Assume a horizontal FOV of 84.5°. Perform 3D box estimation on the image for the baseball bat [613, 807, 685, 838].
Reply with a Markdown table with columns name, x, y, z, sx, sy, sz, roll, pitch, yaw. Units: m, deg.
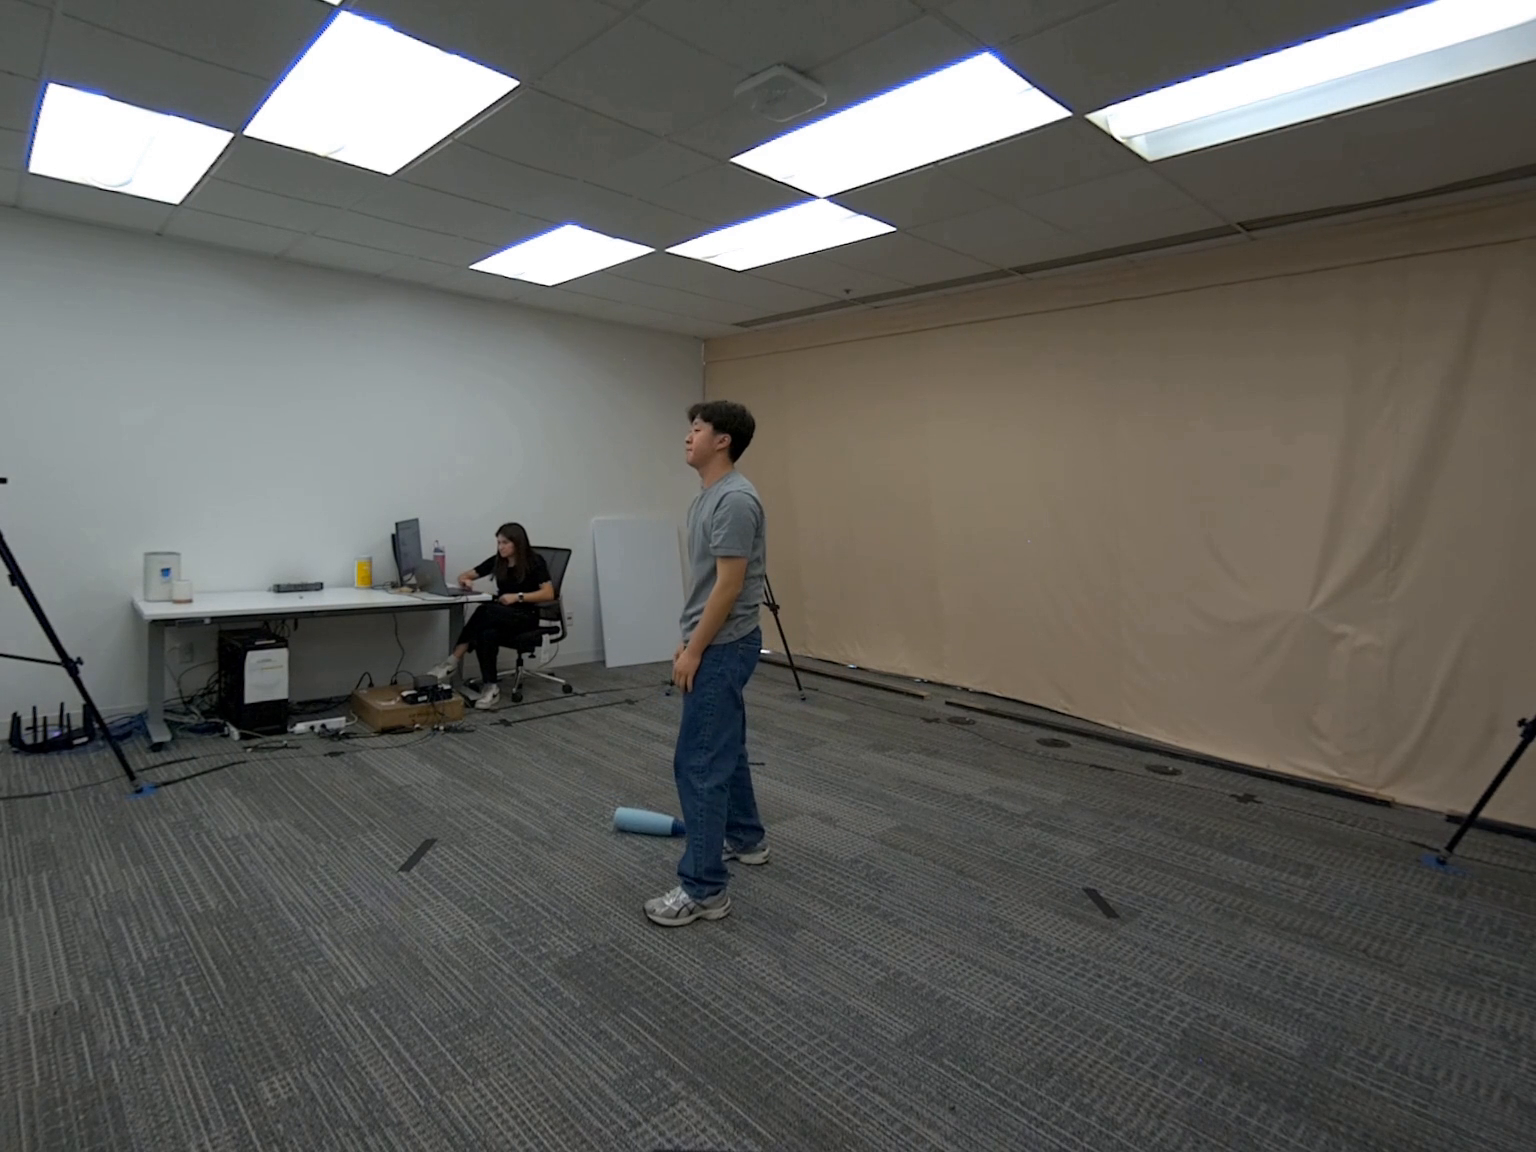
| name | x | y | z | sx | sy | sz | roll | pitch | yaw |
| --- | --- | --- | --- | --- | --- | --- | --- | --- | --- |
| baseball bat | -0.379 | 1.034 | 3.454 | 0.548 | 0.089 | 0.088 | 6 | 5 | 10 |
